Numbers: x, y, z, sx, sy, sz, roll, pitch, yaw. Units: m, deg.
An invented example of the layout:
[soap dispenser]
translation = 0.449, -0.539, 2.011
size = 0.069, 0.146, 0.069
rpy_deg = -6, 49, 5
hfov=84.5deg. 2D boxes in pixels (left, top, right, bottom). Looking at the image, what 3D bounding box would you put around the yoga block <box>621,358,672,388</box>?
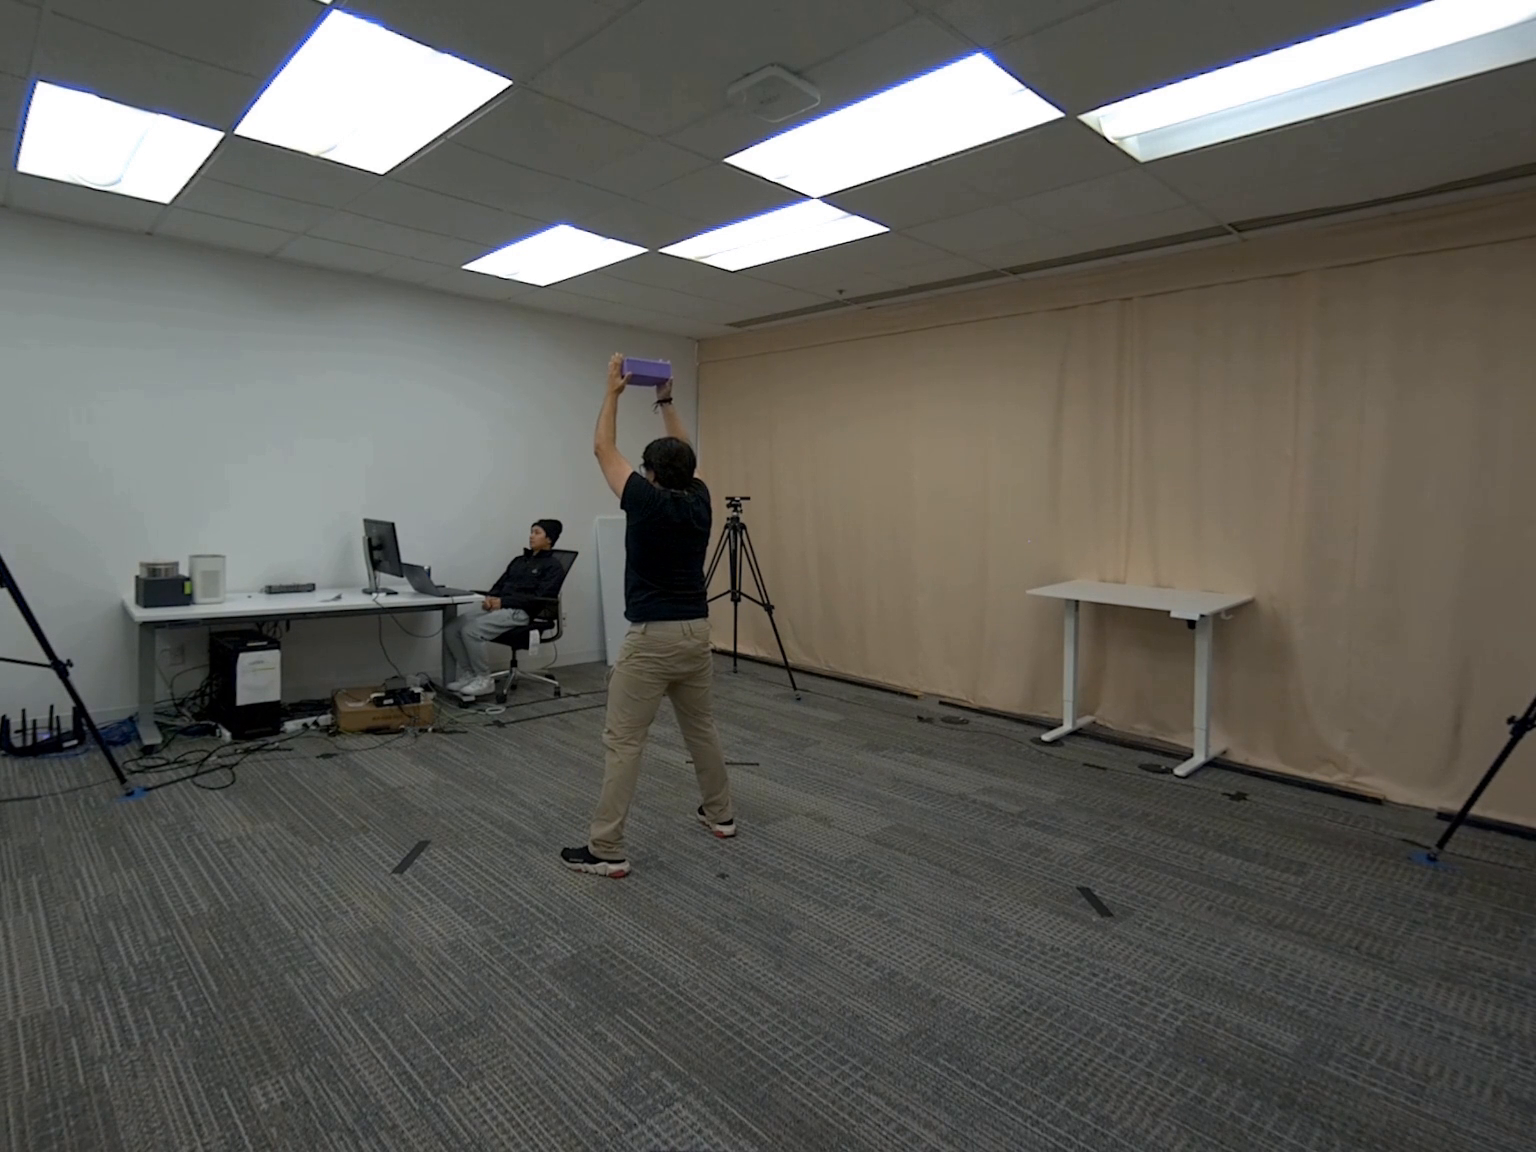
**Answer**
[yoga block]
translation = -0.537, -0.846, 3.476
size = 0.224, 0.076, 0.152
rpy_deg = -6, 0, -43
